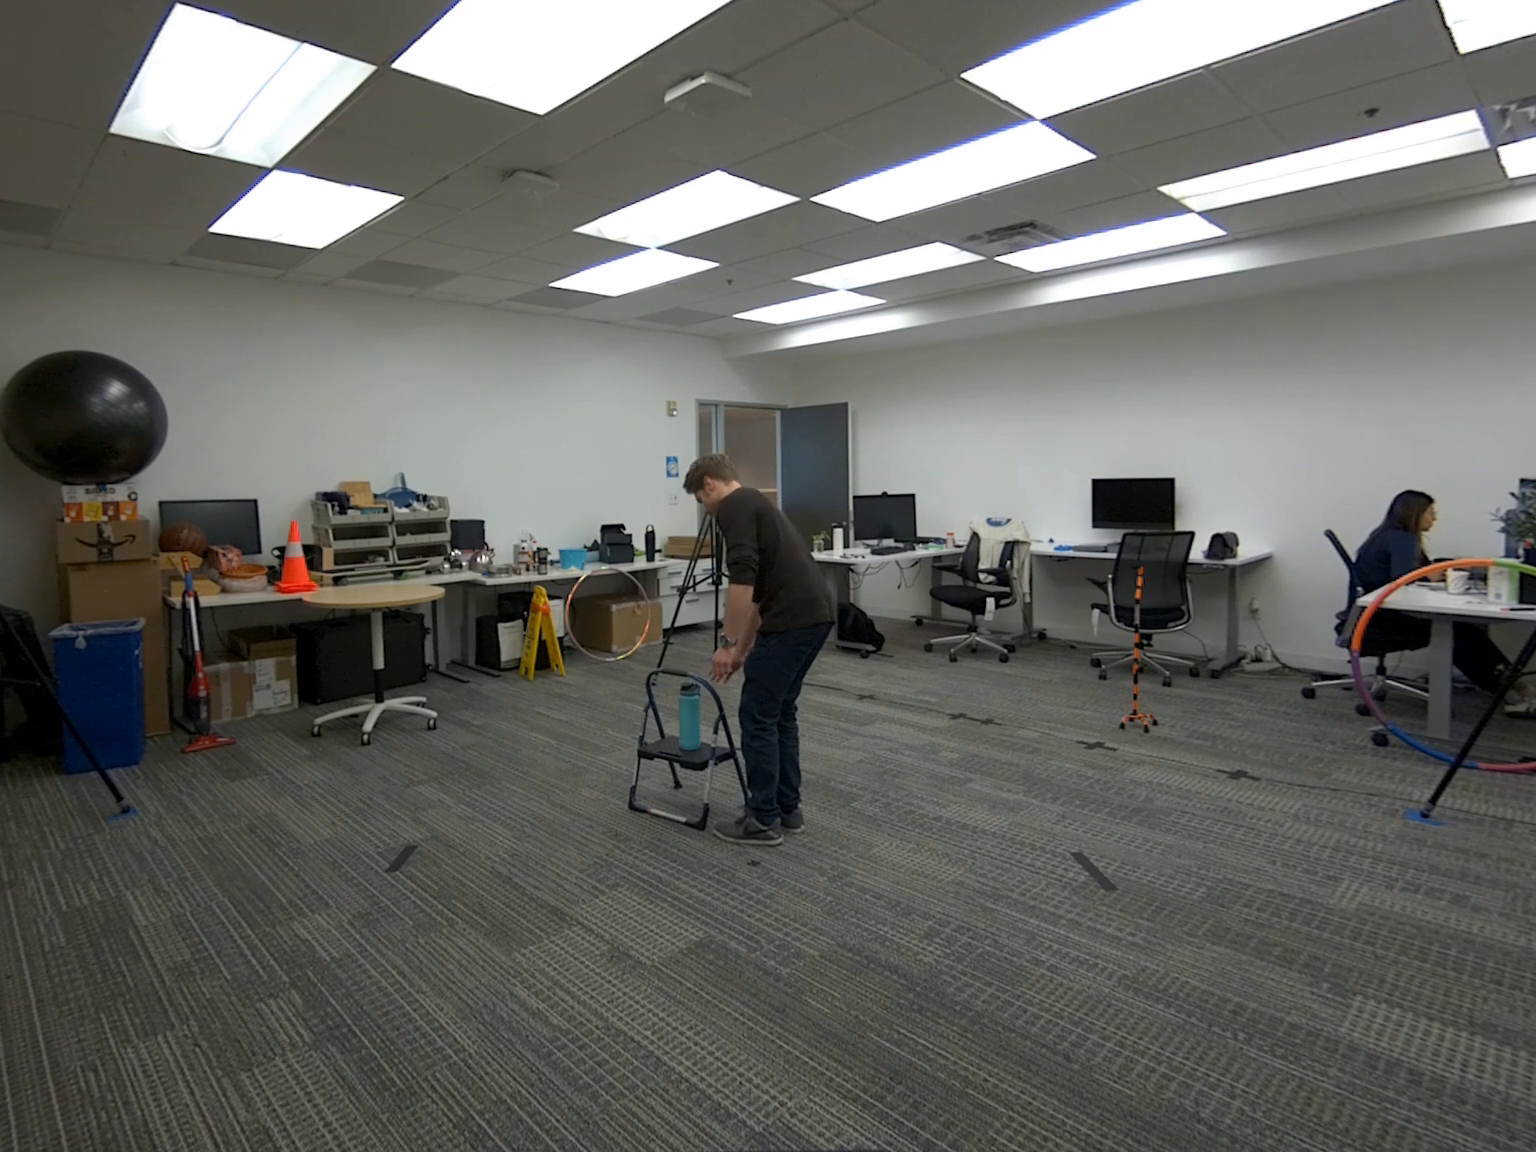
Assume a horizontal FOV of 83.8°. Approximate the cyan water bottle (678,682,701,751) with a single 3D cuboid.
[{"bbox_3d":[-0.327,0.590,3.634,0.092,0.283,0.092,0,0,-2],"label":"cyan water bottle"}]
